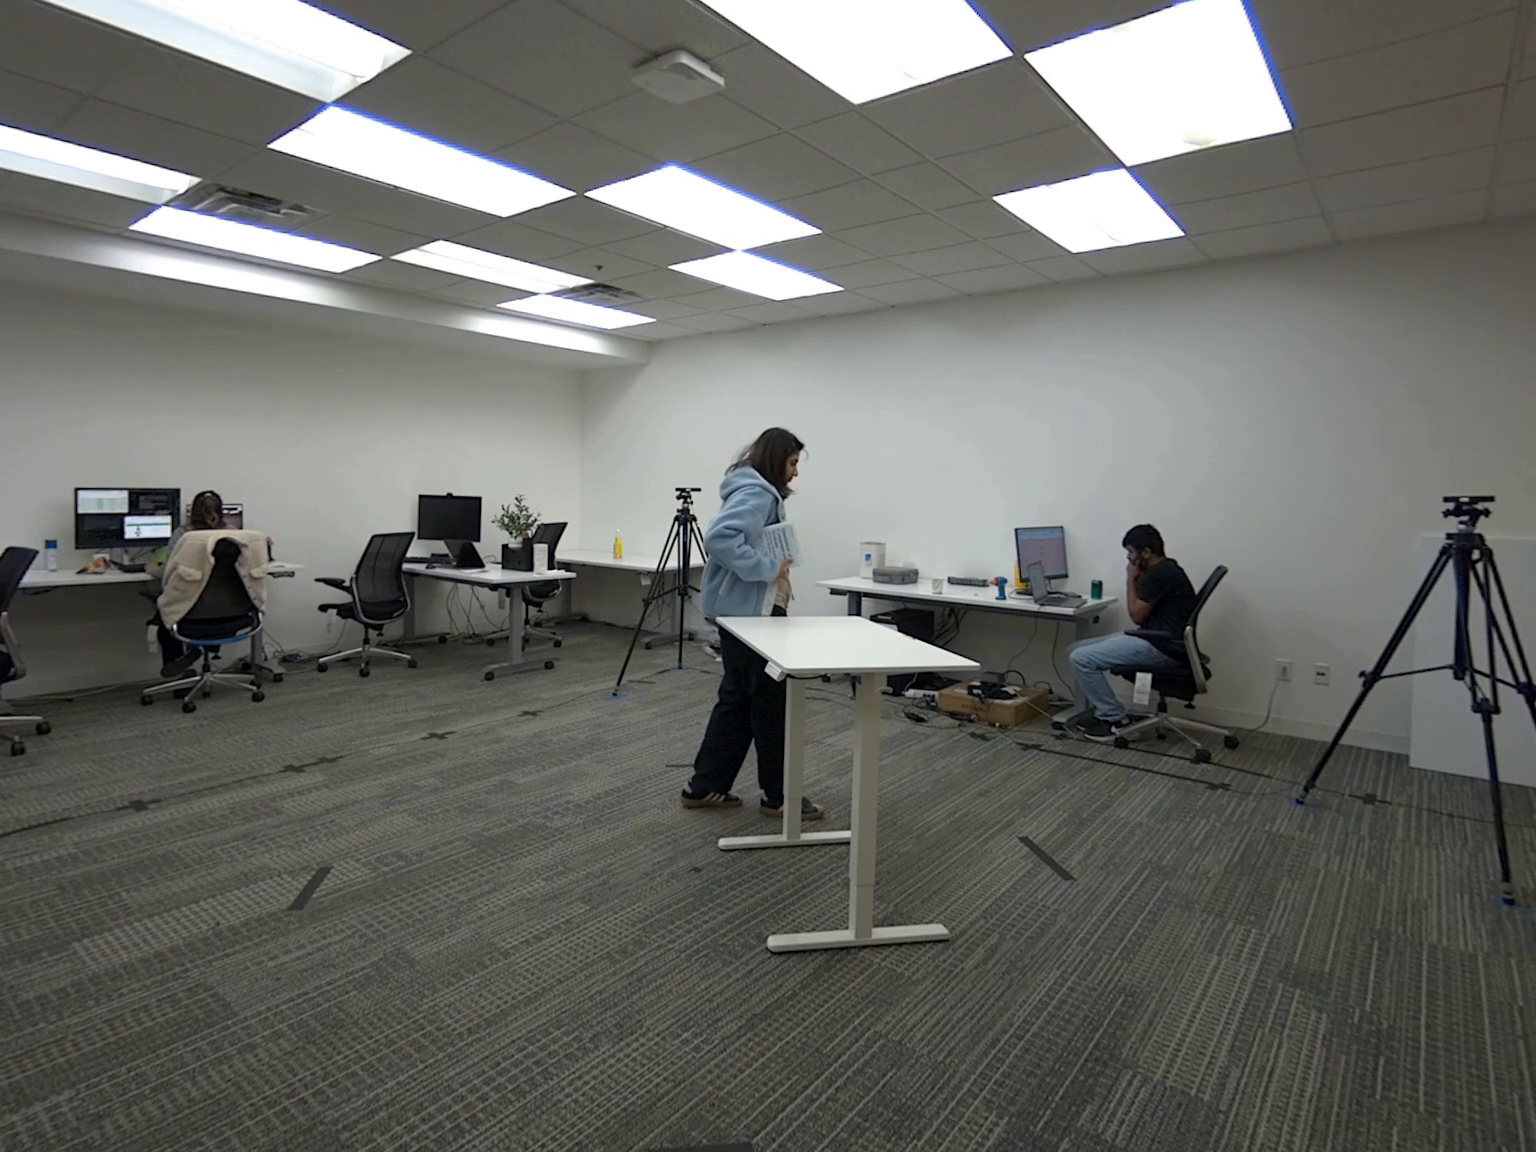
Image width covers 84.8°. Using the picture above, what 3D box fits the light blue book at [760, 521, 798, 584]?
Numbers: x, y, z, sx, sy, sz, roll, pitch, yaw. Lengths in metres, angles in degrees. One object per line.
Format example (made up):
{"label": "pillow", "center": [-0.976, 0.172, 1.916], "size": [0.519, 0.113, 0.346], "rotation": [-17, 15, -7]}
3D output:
{"label": "light blue book", "center": [-0.018, -0.118, 3.481], "size": [0.258, 0.191, 0.059], "rotation": [-9, 0, -11]}
